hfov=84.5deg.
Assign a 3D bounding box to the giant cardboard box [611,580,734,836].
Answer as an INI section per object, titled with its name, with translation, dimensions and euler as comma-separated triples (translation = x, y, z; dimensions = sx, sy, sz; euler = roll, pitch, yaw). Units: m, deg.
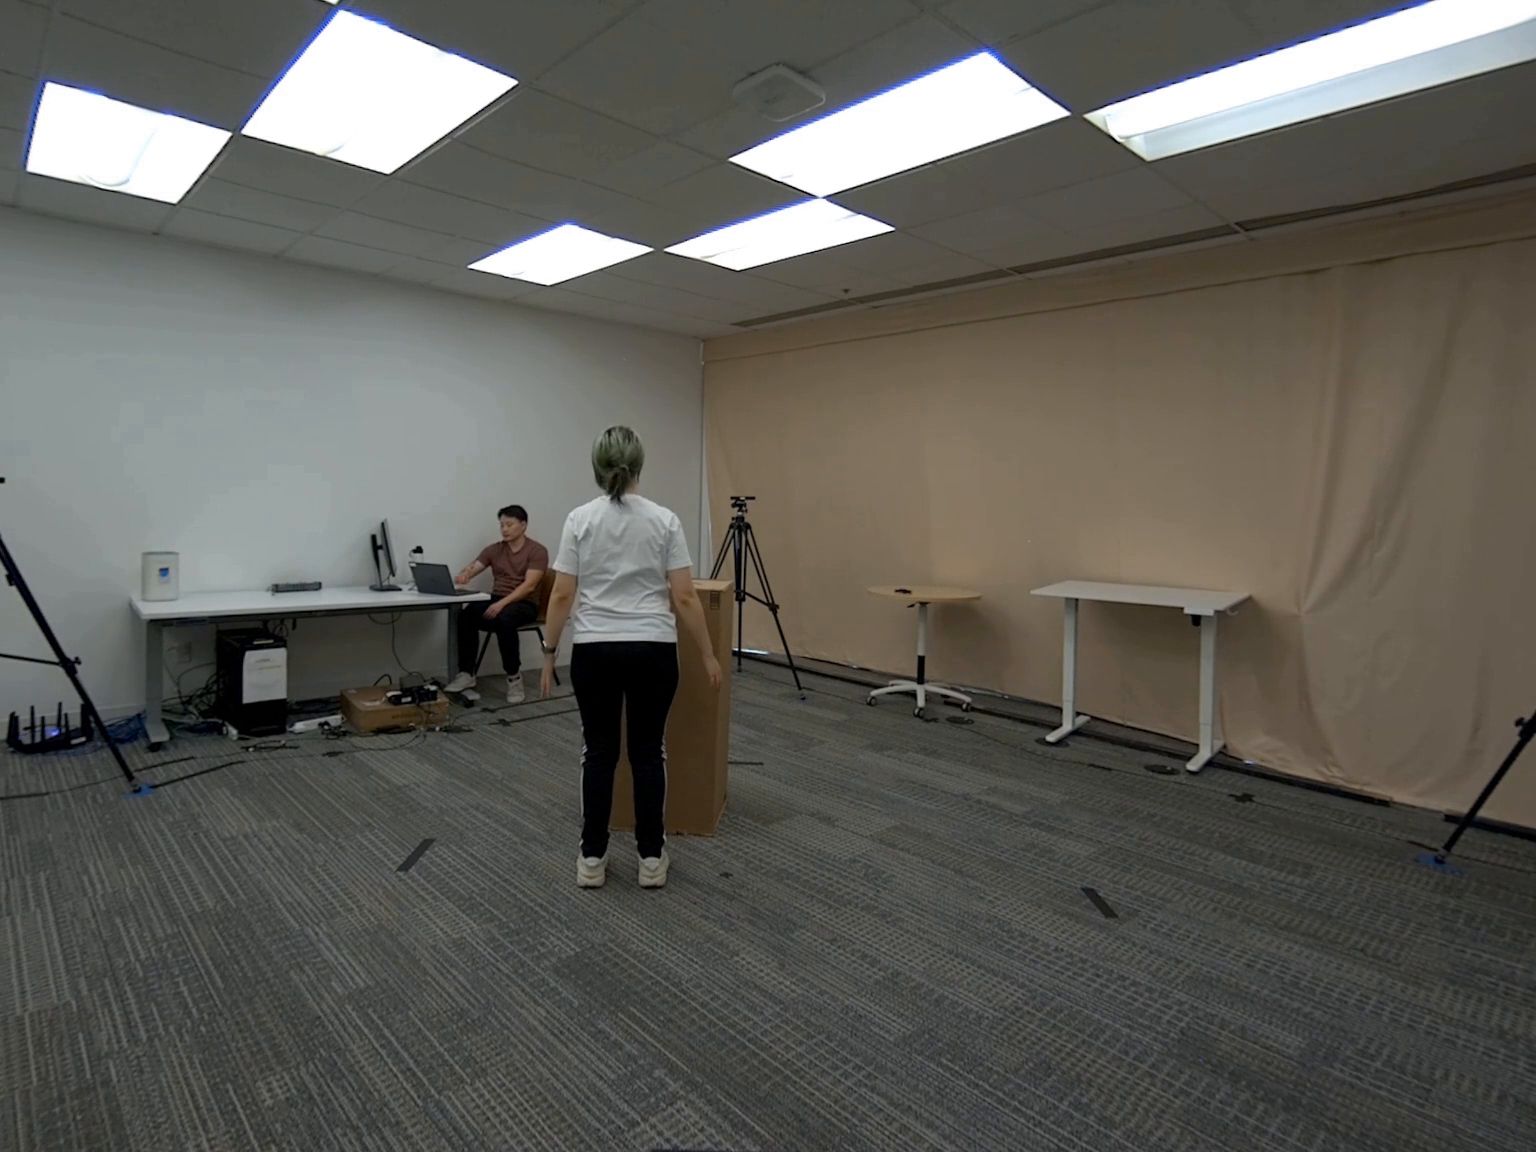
[giant cardboard box]
translation = -0.480, 0.536, 3.674
dimensions = 0.587, 1.025, 0.445
euler = 2, 3, 6
